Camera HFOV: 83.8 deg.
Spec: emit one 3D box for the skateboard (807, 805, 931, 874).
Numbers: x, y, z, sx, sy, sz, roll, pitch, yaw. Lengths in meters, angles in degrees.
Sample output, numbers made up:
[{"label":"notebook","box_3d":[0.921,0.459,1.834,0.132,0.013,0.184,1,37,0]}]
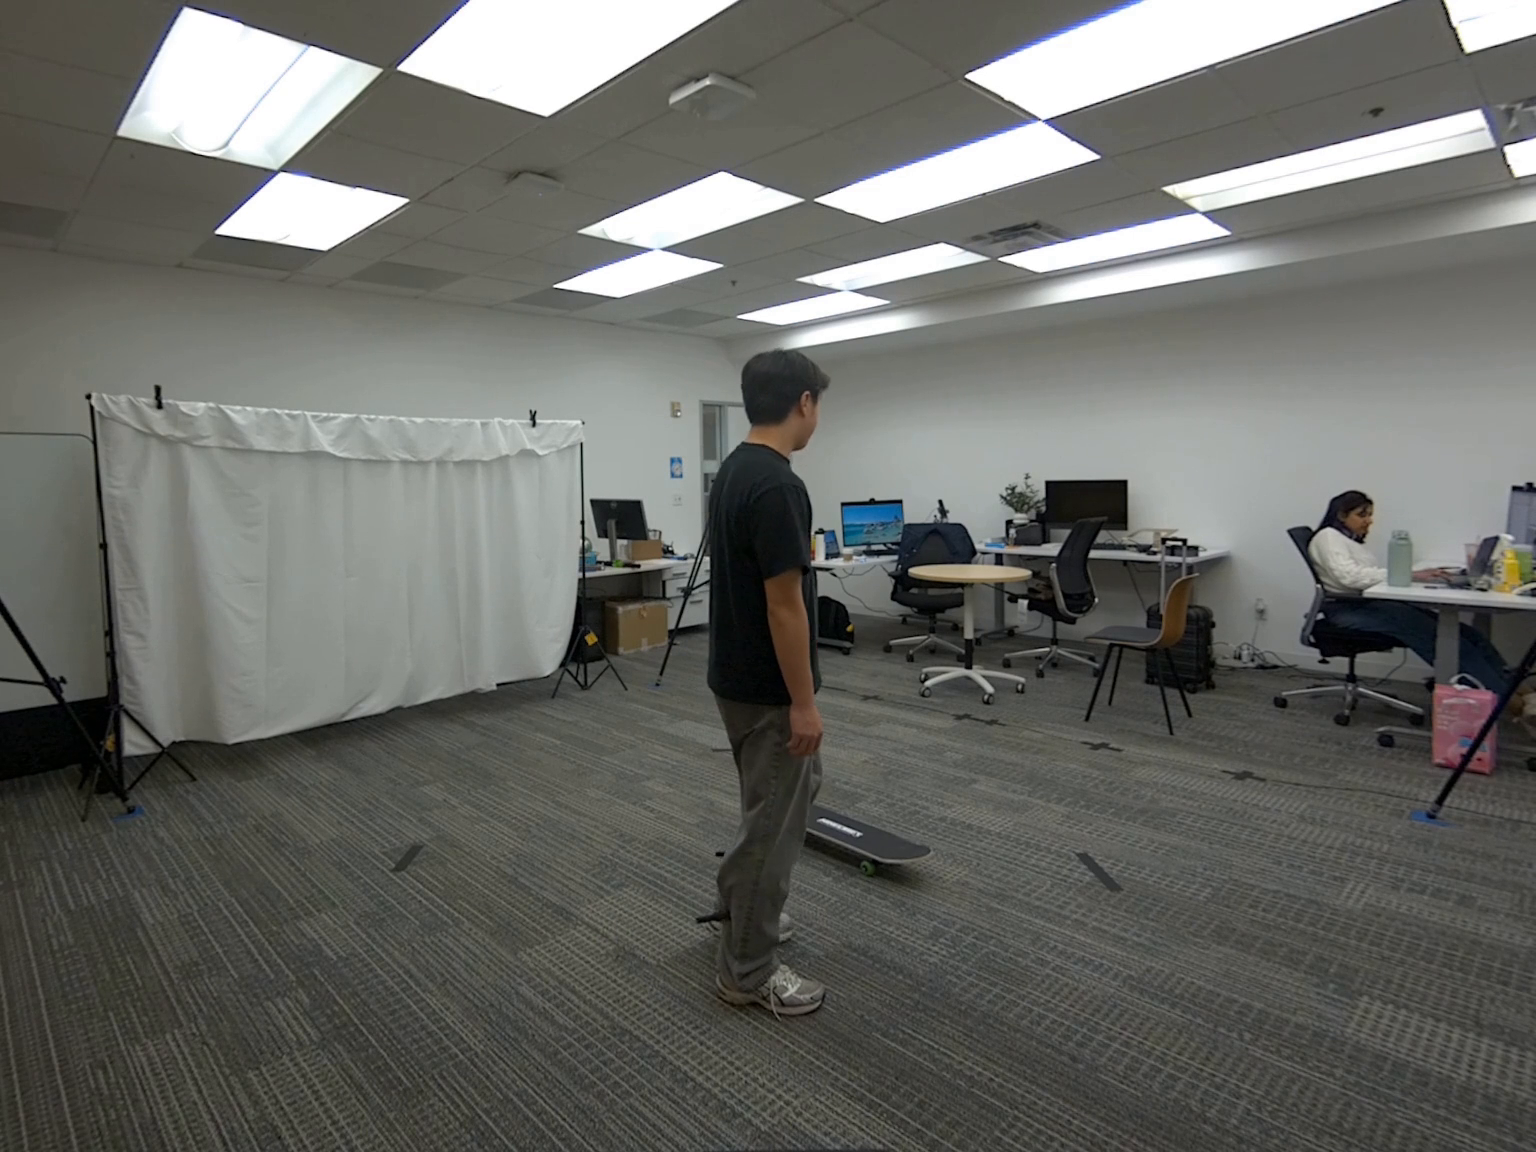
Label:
[{"label":"skateboard","box_3d":[0.273,0.976,3.201,0.188,0.110,0.810,-6,8,-42]}]
